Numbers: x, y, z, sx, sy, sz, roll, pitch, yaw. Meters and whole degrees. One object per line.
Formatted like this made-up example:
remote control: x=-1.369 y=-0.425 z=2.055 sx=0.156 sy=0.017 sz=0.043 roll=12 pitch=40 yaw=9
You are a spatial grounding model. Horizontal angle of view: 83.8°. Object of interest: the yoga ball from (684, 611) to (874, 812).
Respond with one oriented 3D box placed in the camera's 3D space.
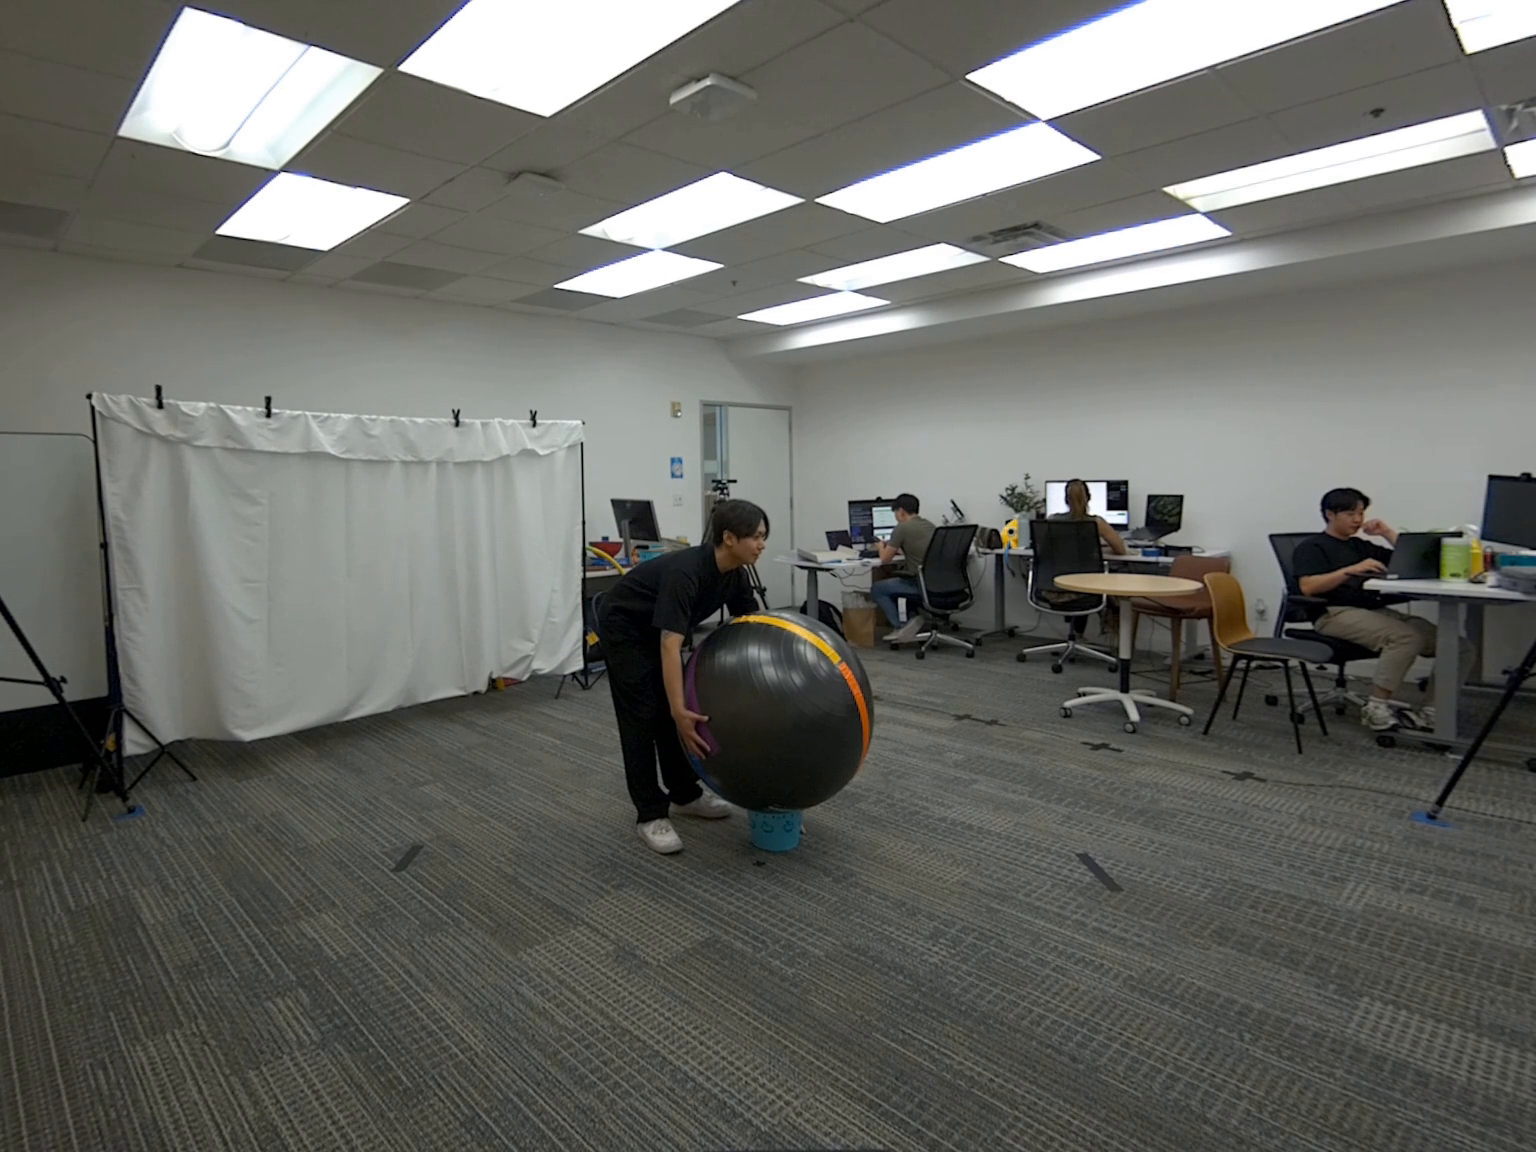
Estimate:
yoga ball: x=0.025 y=0.511 z=3.275 sx=0.757 sy=0.755 sz=0.762 roll=-1 pitch=5 yaw=-2
